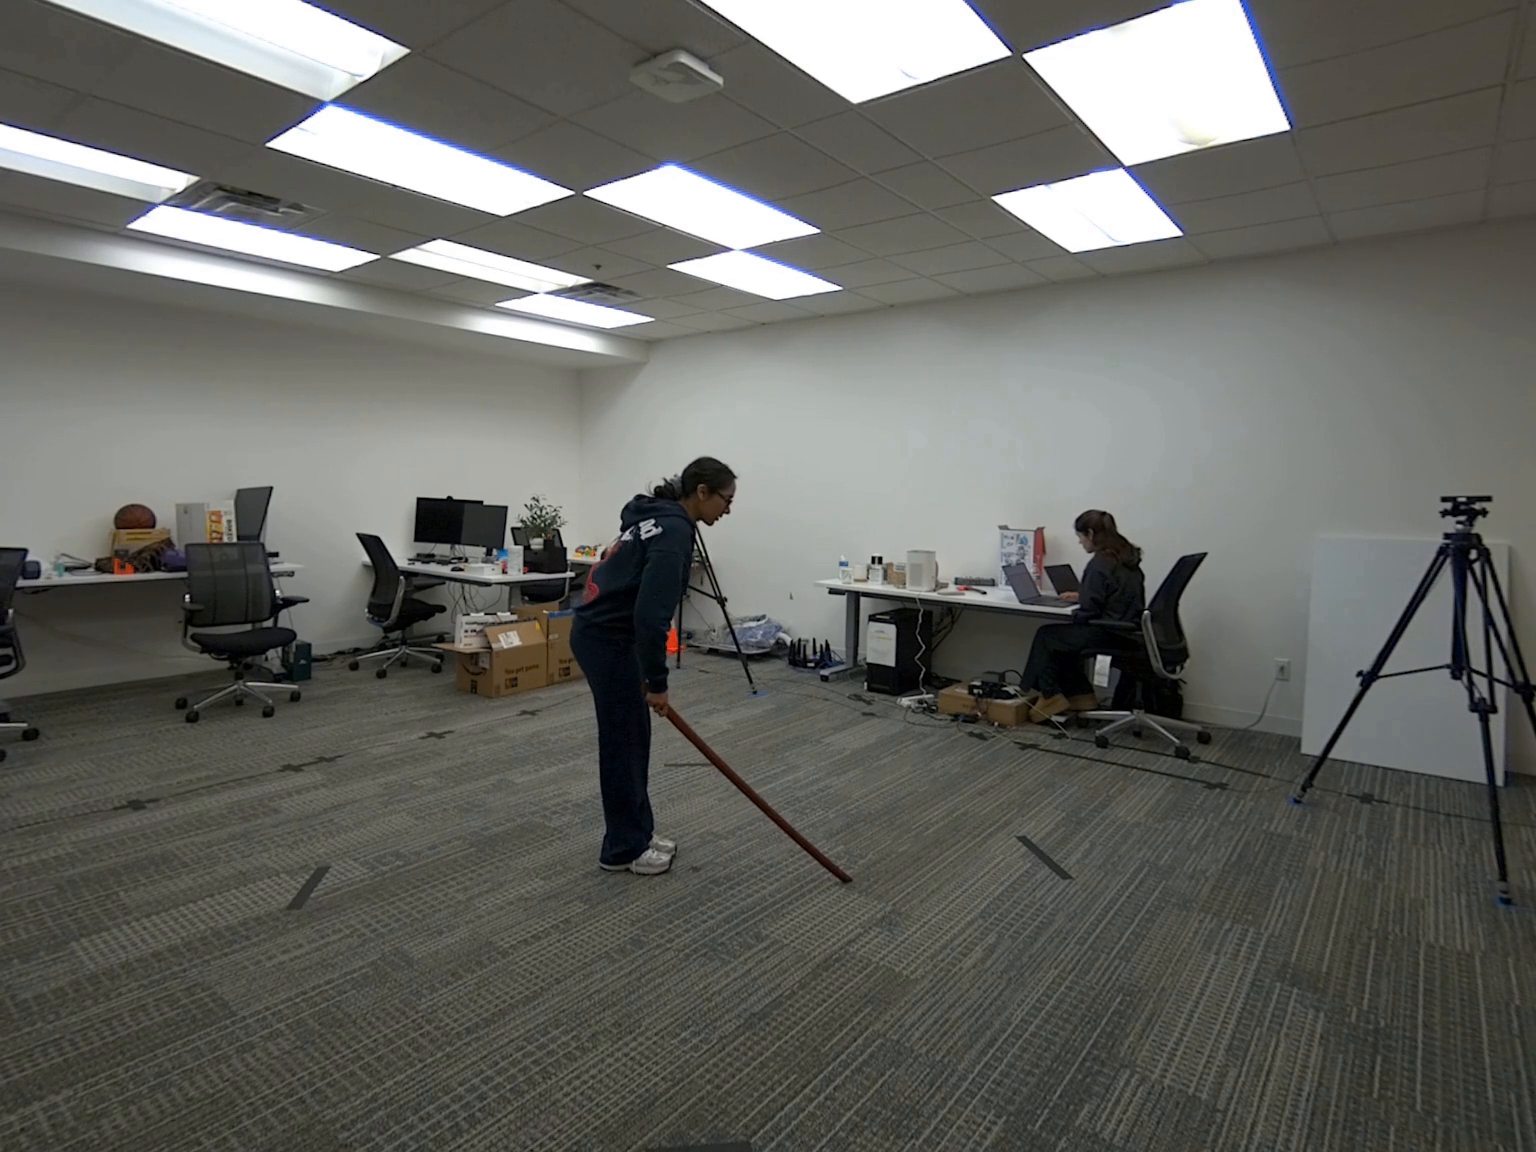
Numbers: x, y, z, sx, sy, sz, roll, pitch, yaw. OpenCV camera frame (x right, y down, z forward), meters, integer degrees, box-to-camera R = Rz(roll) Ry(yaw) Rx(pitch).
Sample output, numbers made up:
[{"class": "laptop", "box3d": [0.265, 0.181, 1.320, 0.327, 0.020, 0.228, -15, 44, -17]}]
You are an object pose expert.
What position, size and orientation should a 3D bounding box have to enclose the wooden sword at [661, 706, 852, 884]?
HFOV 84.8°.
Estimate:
[{"class": "wooden sword", "box3d": [-0.083, 0.745, 2.991, 0.024, 1.017, 0.051, -44, 6, 30]}]
